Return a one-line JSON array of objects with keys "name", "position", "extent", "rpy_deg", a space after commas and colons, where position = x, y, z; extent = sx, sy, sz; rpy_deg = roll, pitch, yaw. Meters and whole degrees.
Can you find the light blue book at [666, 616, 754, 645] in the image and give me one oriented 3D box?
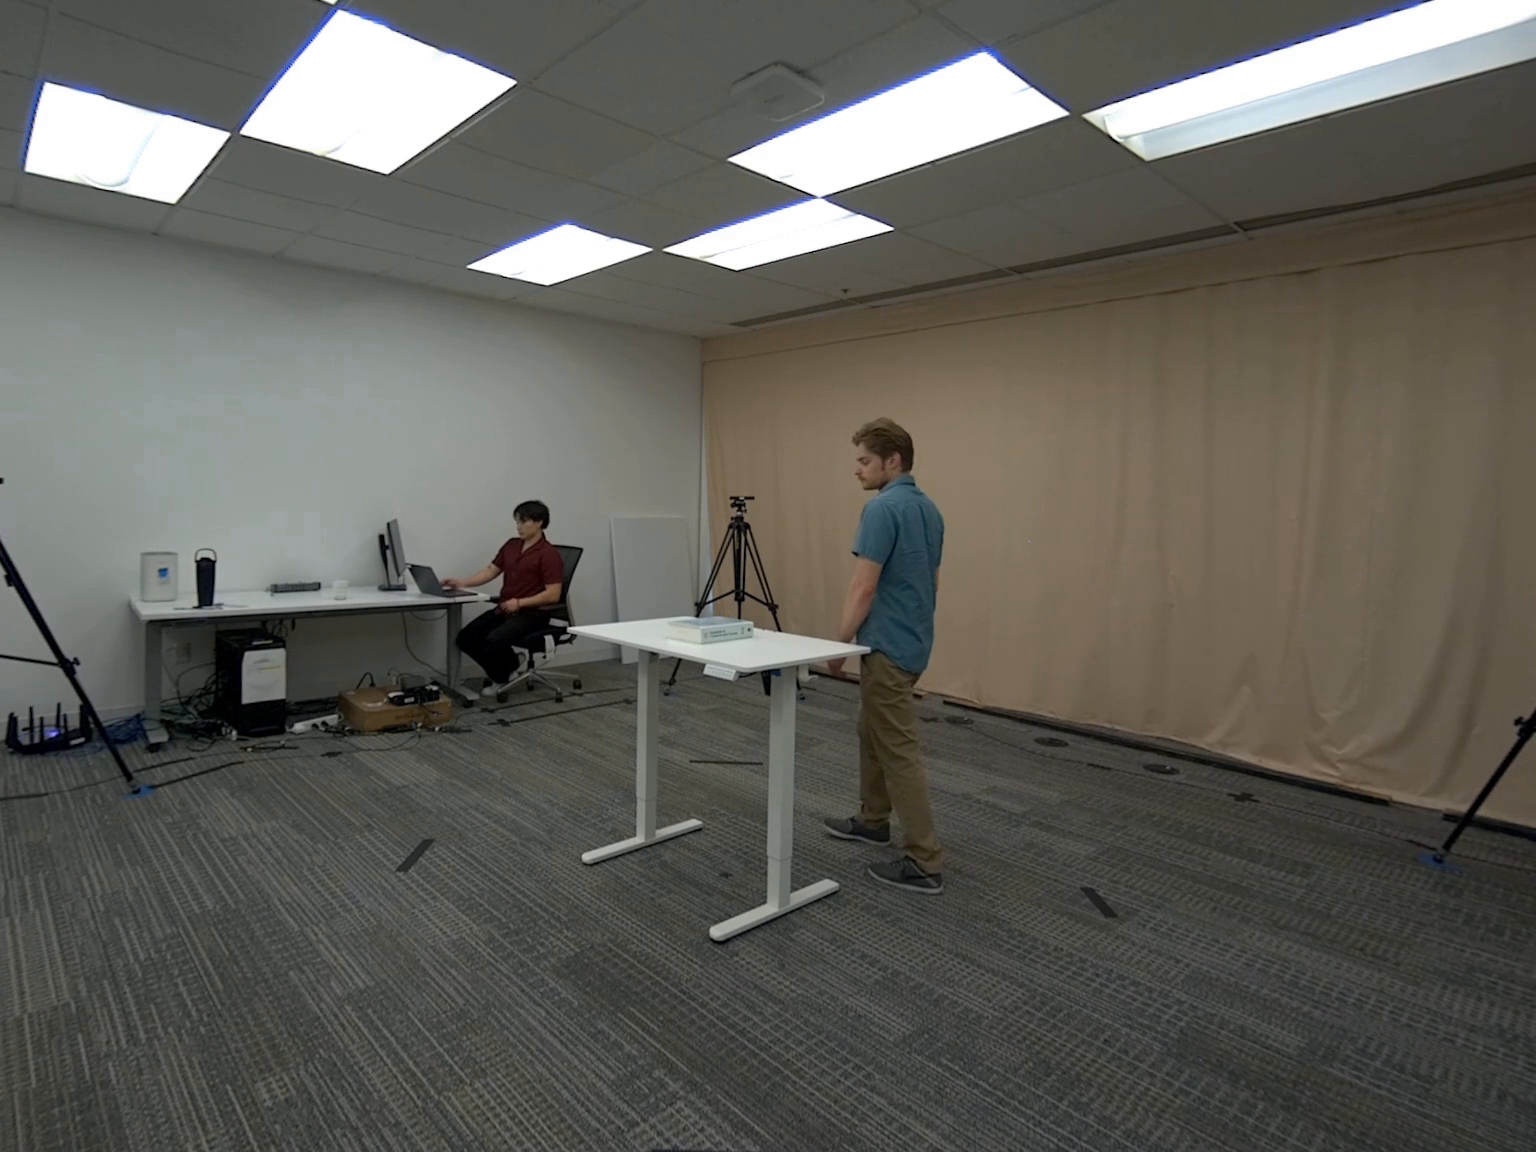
[{"name": "light blue book", "position": [-0.216, 0.194, 3.058], "extent": [0.196, 0.059, 0.255], "rpy_deg": [6, 7, 44]}]
